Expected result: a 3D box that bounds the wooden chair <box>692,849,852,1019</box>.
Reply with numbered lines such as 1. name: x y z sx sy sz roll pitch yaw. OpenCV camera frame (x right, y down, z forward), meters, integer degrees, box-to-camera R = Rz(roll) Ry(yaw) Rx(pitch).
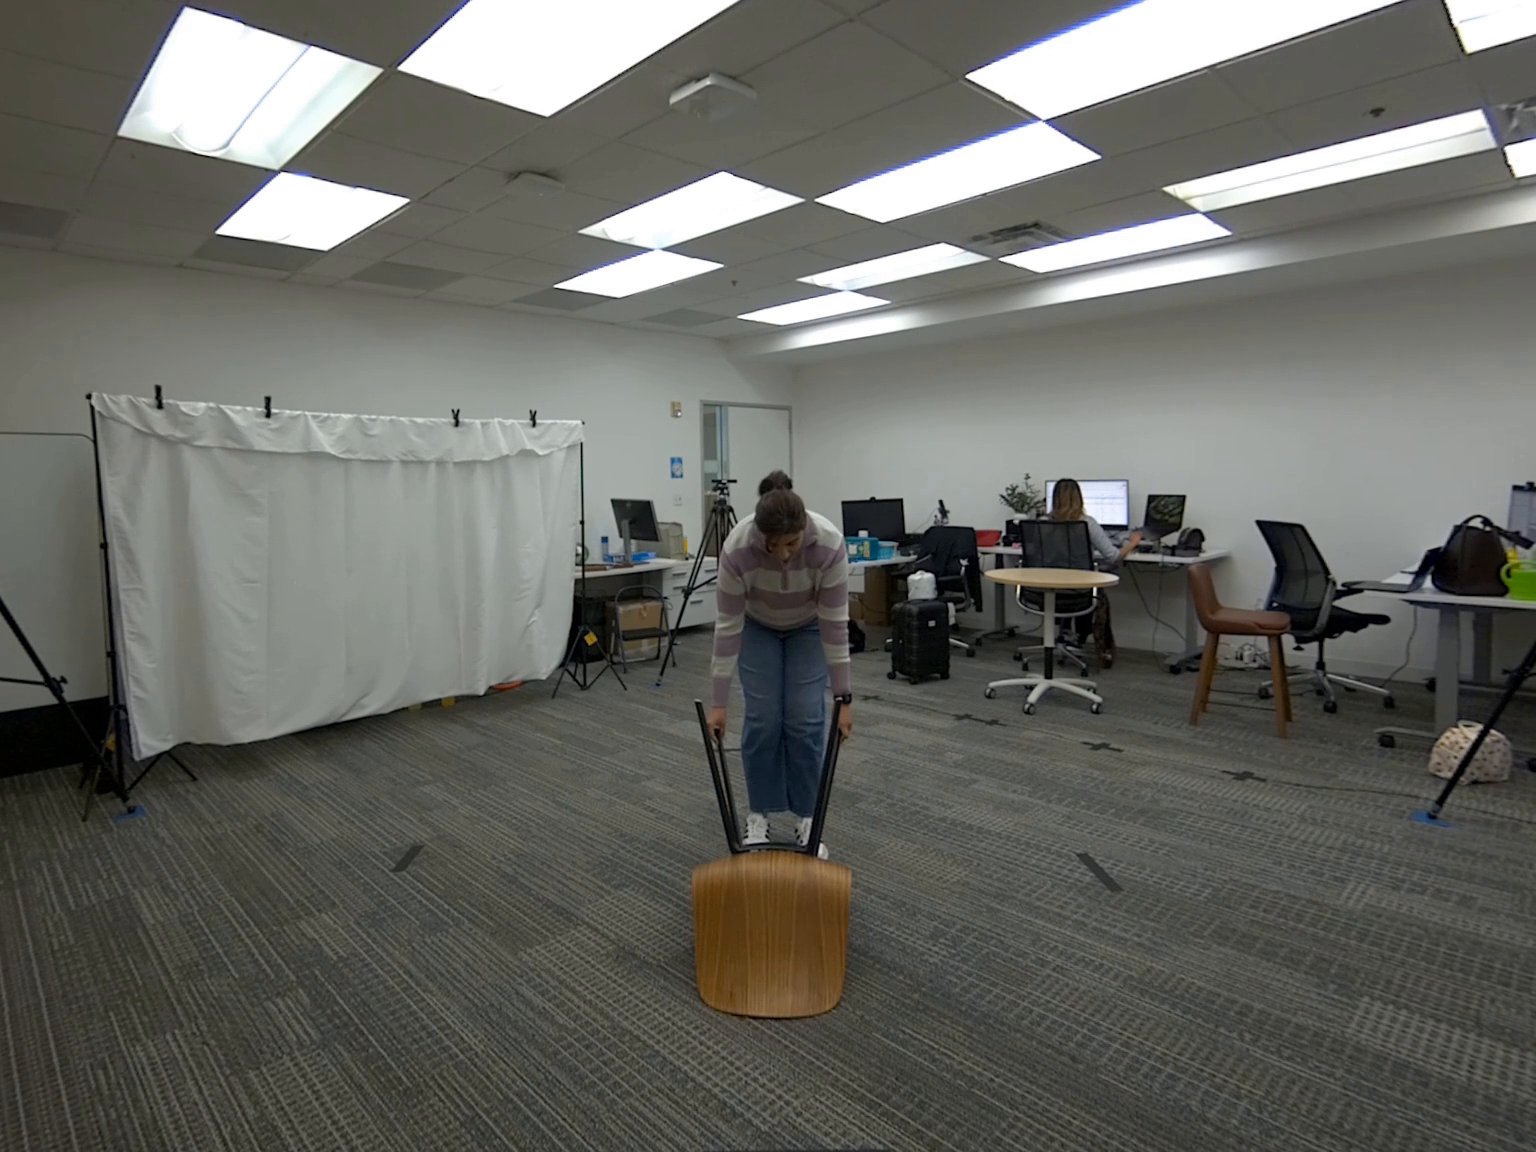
1. wooden chair: 0.021 0.871 2.641 0.481 0.896 0.509 -2 -27 5
